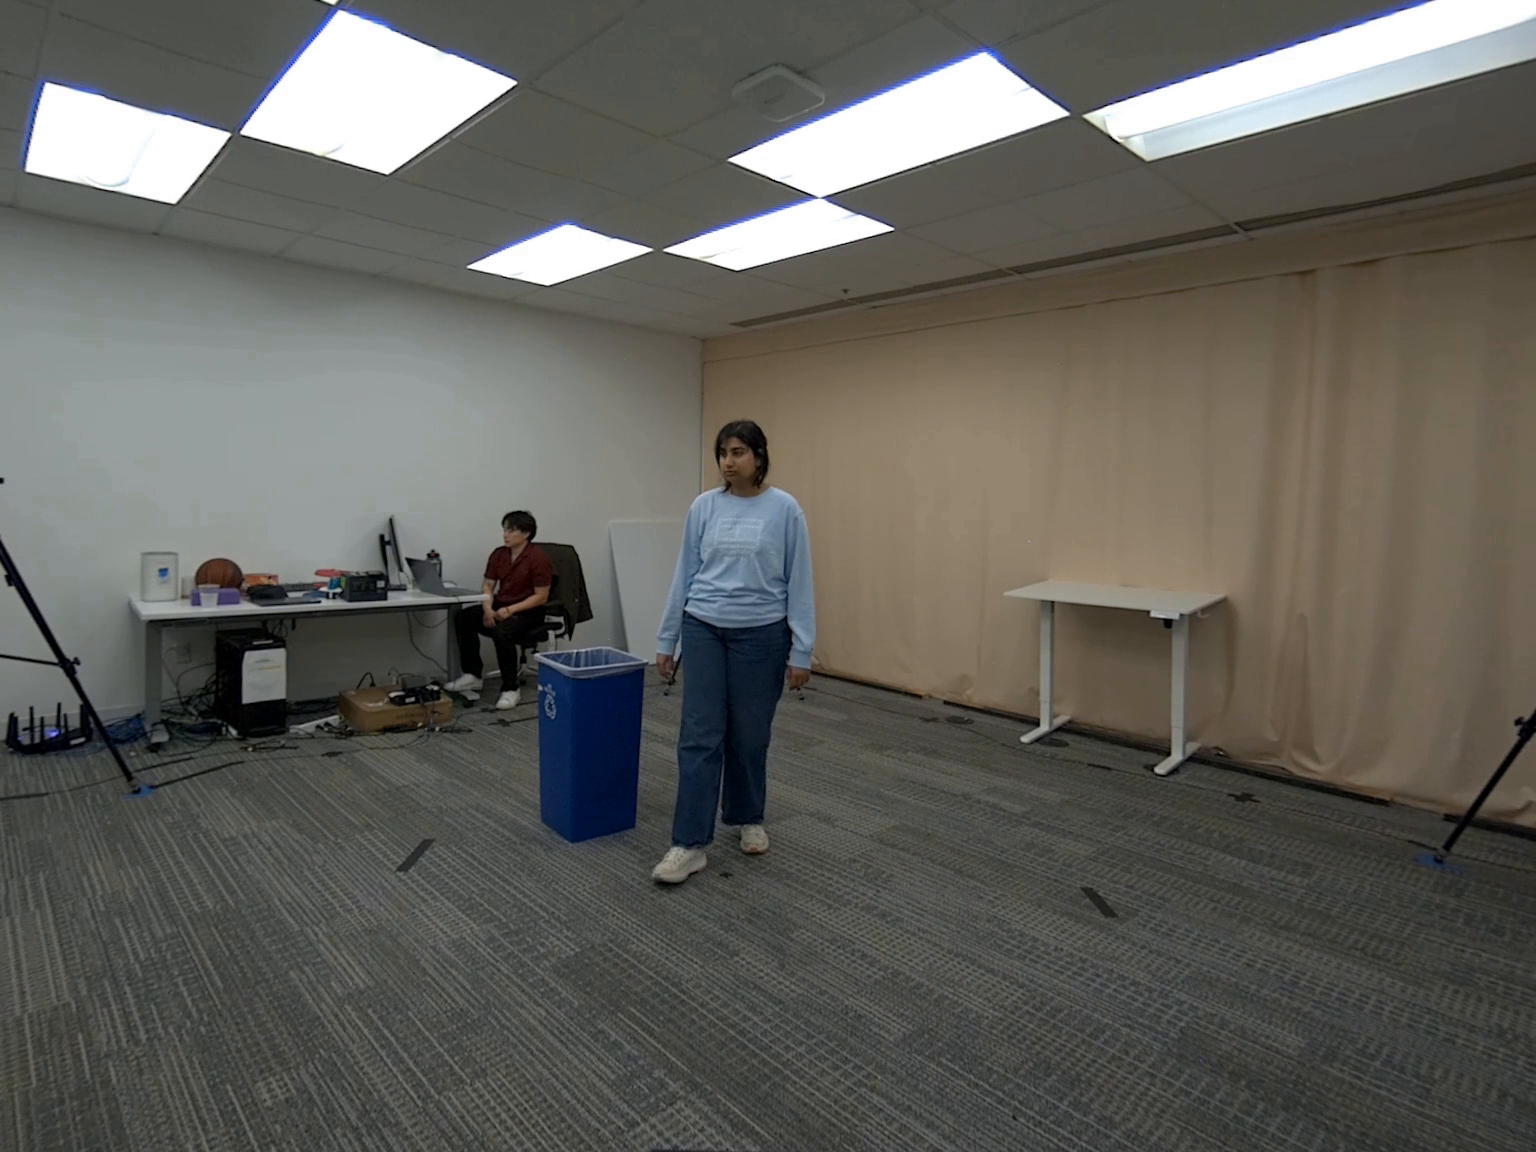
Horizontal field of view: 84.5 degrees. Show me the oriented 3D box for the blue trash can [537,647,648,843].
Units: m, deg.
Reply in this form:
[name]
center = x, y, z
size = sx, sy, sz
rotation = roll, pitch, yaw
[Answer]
[blue trash can]
center = -0.764, 0.695, 3.539
size = 0.366, 0.711, 0.388
rotation = -1, 5, -38
